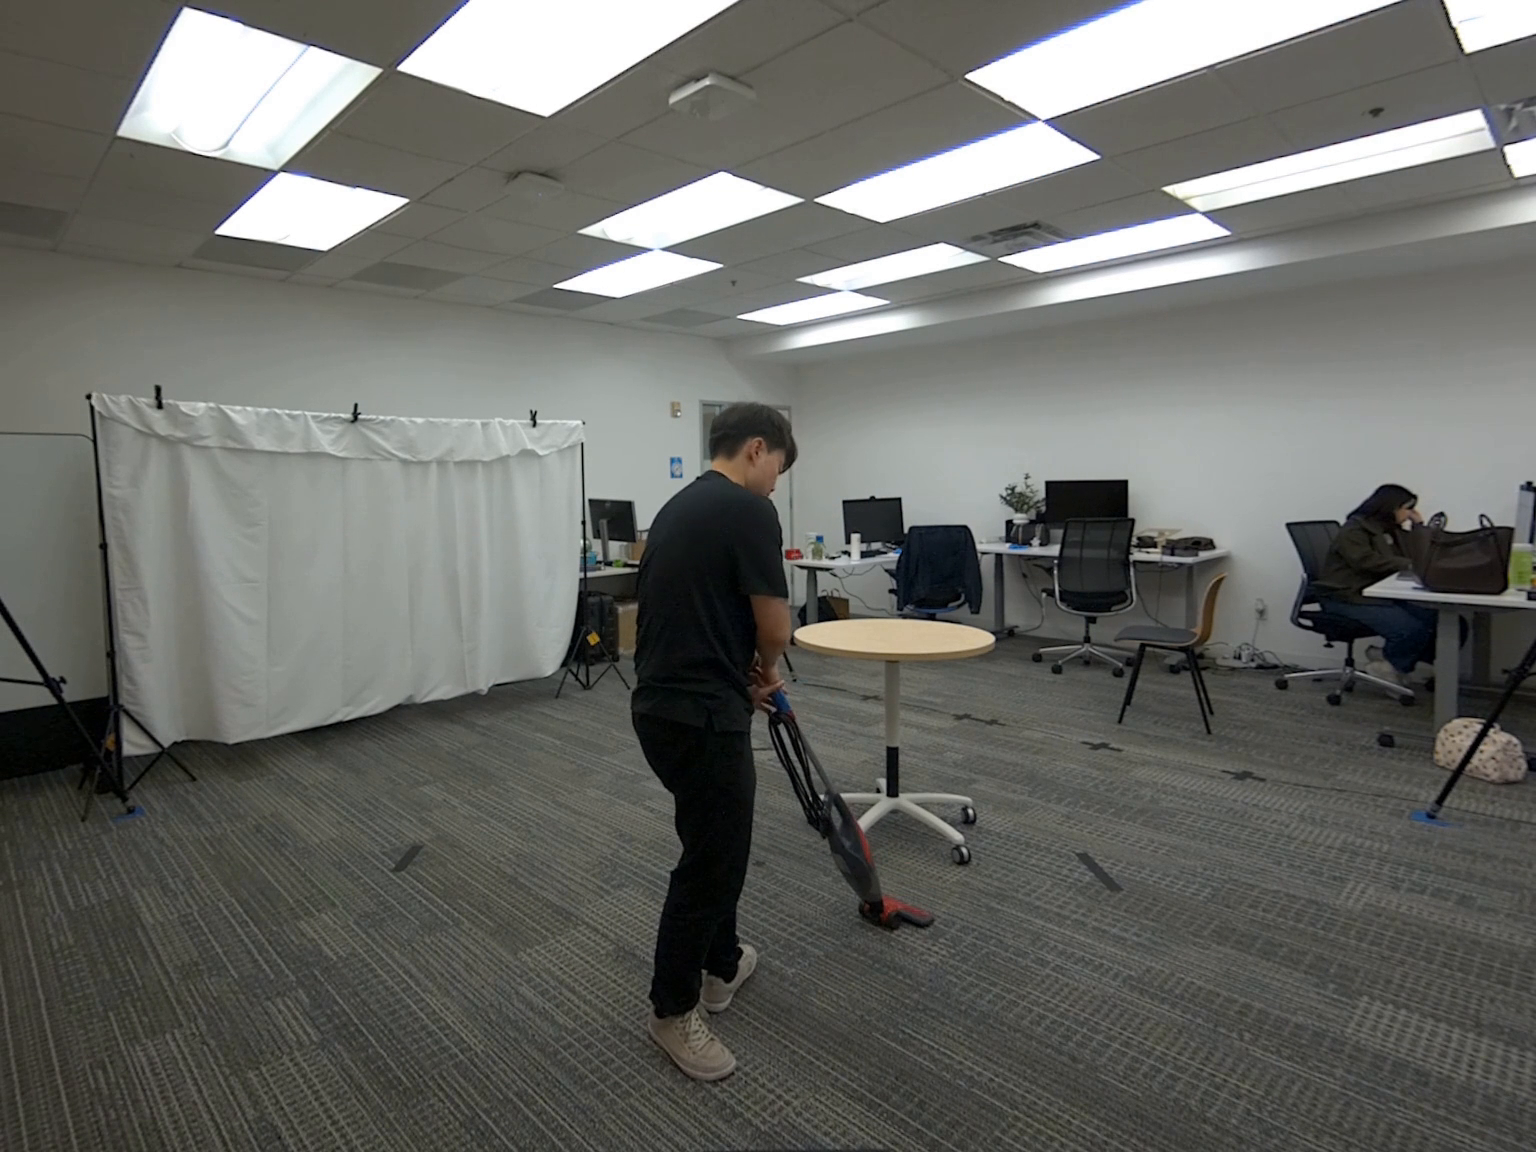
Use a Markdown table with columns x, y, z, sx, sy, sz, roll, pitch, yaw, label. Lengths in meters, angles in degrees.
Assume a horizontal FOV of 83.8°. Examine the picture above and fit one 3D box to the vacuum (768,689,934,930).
| x | y | z | sx | sy | sz | roll | pitch | yaw | label |
| --- | --- | --- | --- | --- | --- | --- | --- | --- | --- |
| 0.174 | 0.675 | 2.513 | 0.260 | 1.020 | 0.144 | -1 | 37 | 46 | vacuum |
